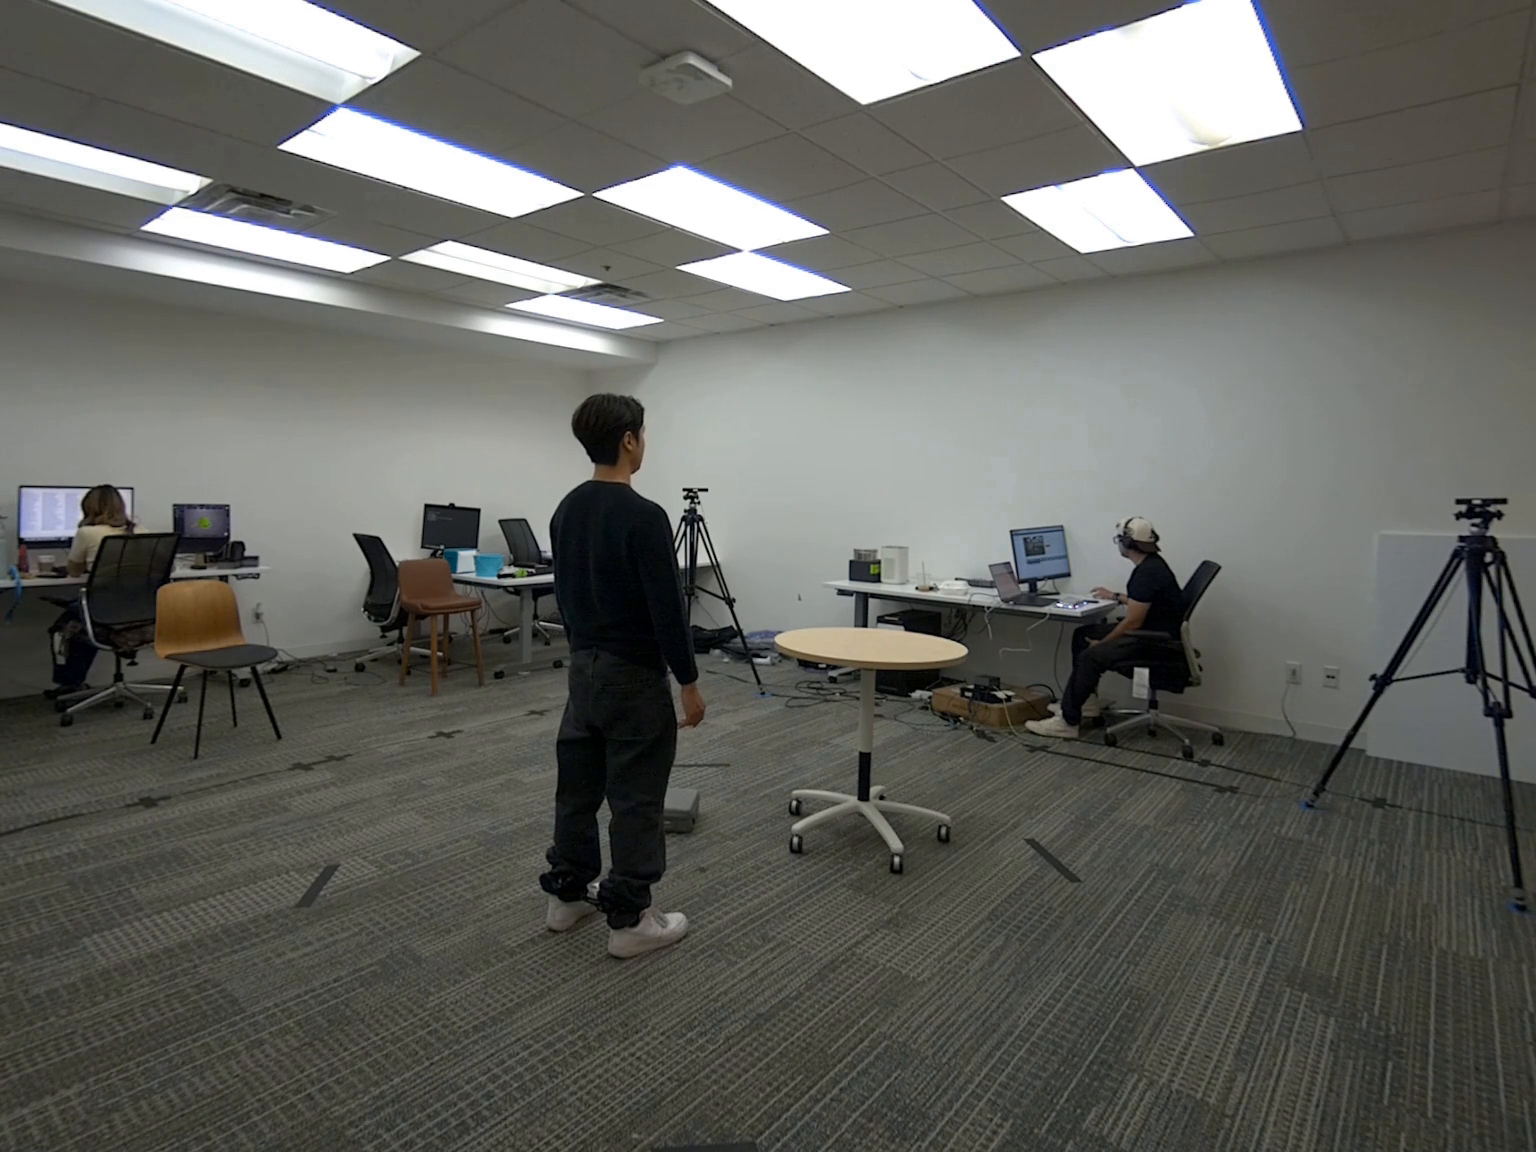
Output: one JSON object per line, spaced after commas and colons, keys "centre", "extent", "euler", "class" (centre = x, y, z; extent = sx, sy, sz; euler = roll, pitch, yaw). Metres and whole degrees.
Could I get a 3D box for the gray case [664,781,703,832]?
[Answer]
{"centre": [-0.428, 0.961, 3.547], "extent": [0.259, 0.104, 0.260], "euler": [1, 6, 6], "class": "gray case"}
